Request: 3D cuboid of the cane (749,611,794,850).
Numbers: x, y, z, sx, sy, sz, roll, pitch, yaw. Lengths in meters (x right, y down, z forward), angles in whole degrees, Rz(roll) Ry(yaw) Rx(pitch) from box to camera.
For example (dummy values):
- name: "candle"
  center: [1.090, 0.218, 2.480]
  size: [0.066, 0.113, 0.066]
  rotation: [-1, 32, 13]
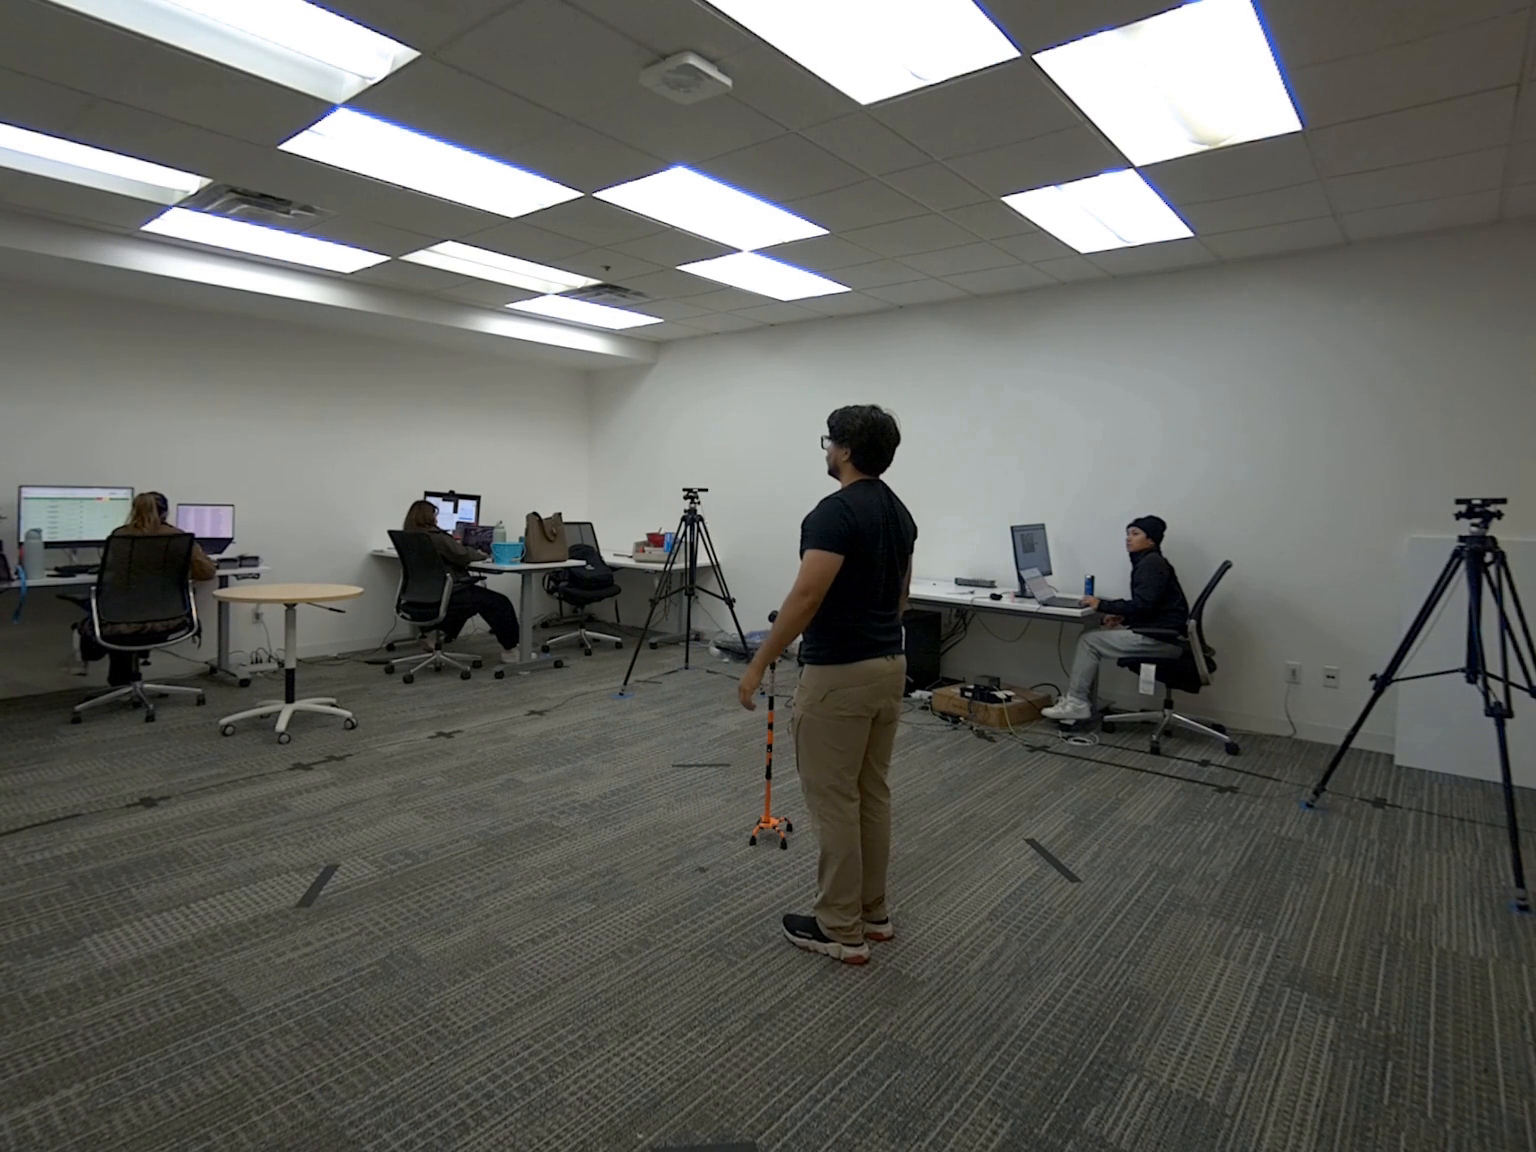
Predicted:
- name: "cane"
  center: [0.018, 0.594, 3.399]
  size: [0.153, 0.906, 0.204]
  rotation: [2, 2, 9]
